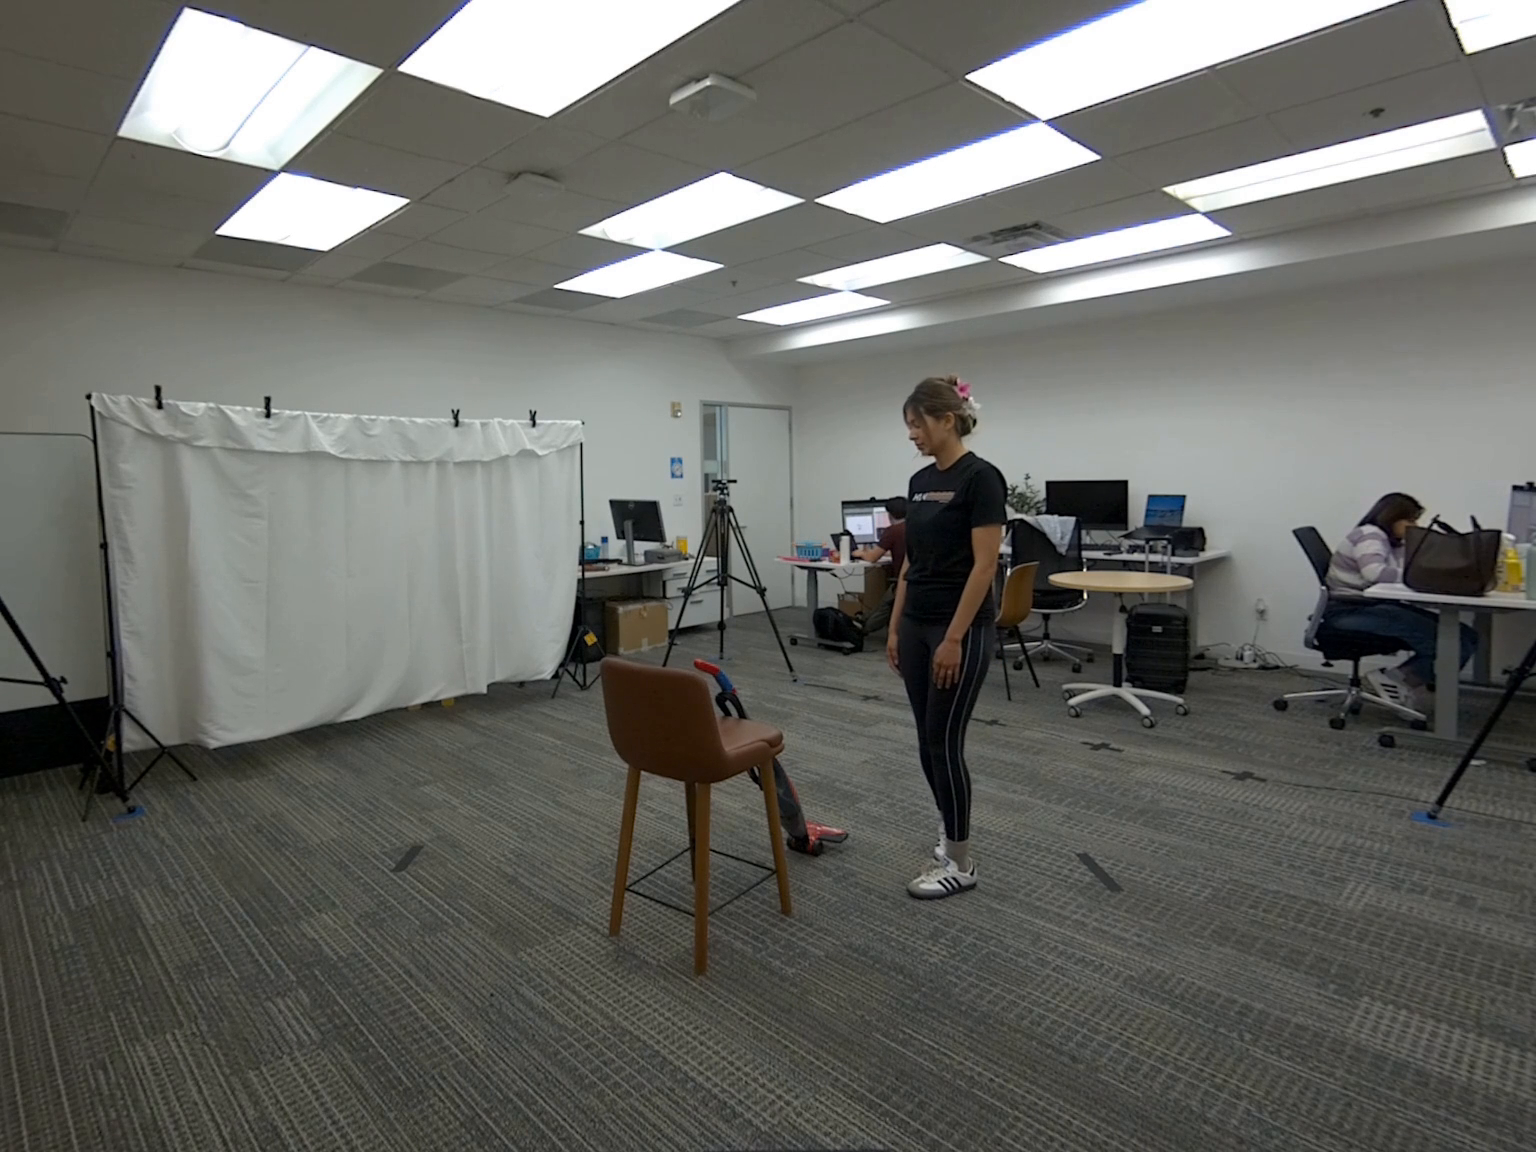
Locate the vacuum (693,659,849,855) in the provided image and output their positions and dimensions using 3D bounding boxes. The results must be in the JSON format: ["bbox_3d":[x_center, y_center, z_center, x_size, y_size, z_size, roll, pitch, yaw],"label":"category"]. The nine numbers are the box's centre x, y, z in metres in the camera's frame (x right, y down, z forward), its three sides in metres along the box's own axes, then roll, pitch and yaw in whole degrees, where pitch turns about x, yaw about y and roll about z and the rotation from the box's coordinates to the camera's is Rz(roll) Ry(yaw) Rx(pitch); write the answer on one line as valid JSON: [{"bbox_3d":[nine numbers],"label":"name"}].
[{"bbox_3d":[-0.015,0.636,2.970,0.260,1.013,0.145,4,45,38],"label":"vacuum"}]
